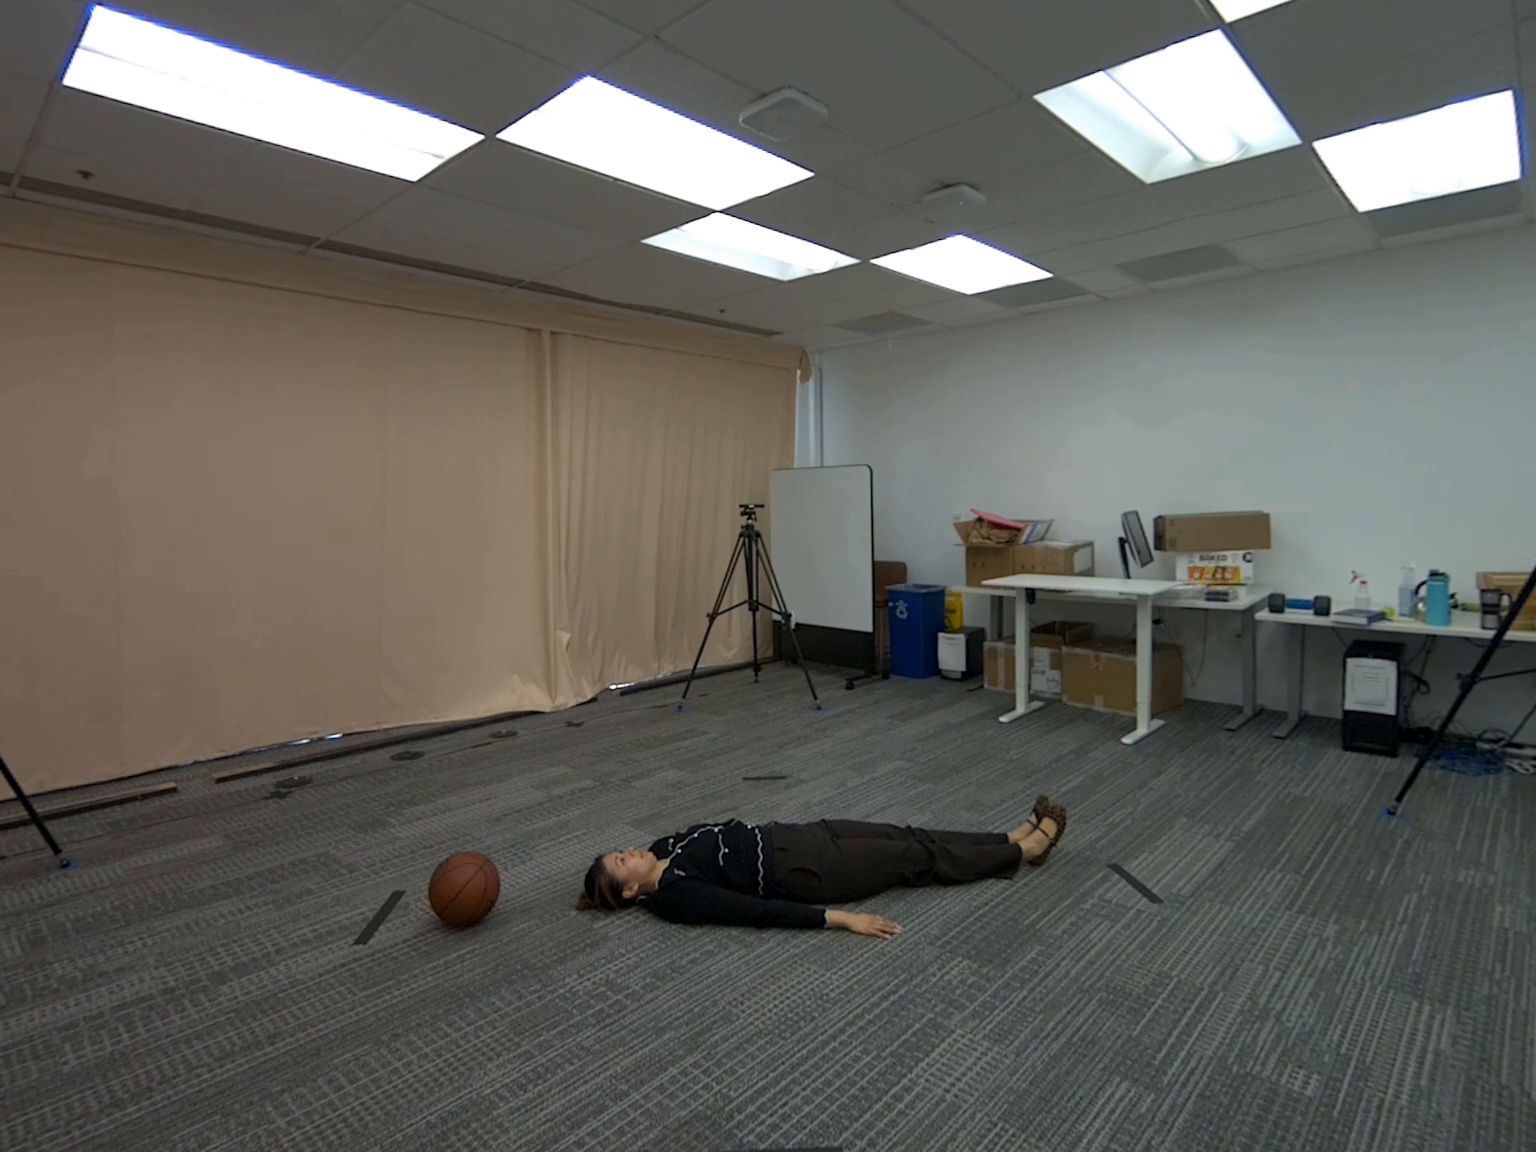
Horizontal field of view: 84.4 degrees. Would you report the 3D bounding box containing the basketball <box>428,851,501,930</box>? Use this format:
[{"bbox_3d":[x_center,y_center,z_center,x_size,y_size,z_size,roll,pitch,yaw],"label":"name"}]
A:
[{"bbox_3d":[-1.027,1.056,2.851,0.236,0.235,0.237,-1,4,-2],"label":"basketball"}]
